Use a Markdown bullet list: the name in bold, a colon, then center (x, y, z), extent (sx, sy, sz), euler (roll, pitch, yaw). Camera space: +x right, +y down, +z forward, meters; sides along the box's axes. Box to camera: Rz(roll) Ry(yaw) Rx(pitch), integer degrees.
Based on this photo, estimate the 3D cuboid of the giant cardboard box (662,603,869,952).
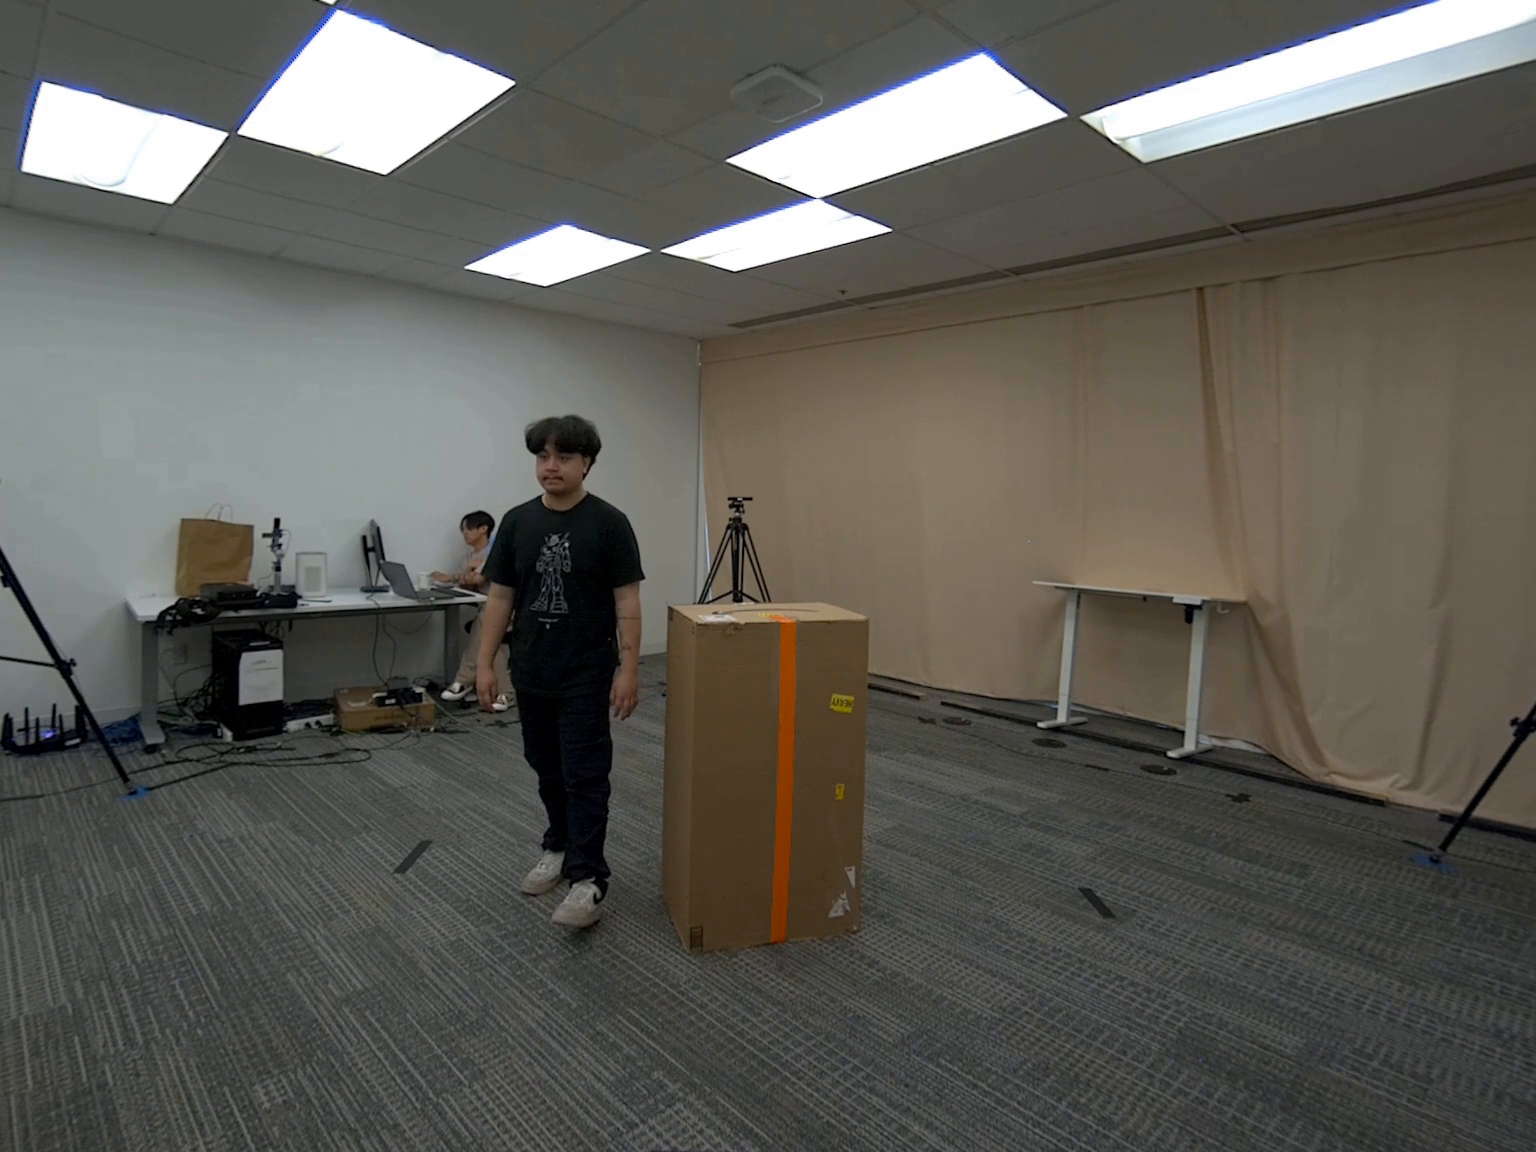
- **giant cardboard box**: center (-0.029, 0.626, 2.813), extent (0.576, 1.024, 0.454), euler (1, 4, -17)
